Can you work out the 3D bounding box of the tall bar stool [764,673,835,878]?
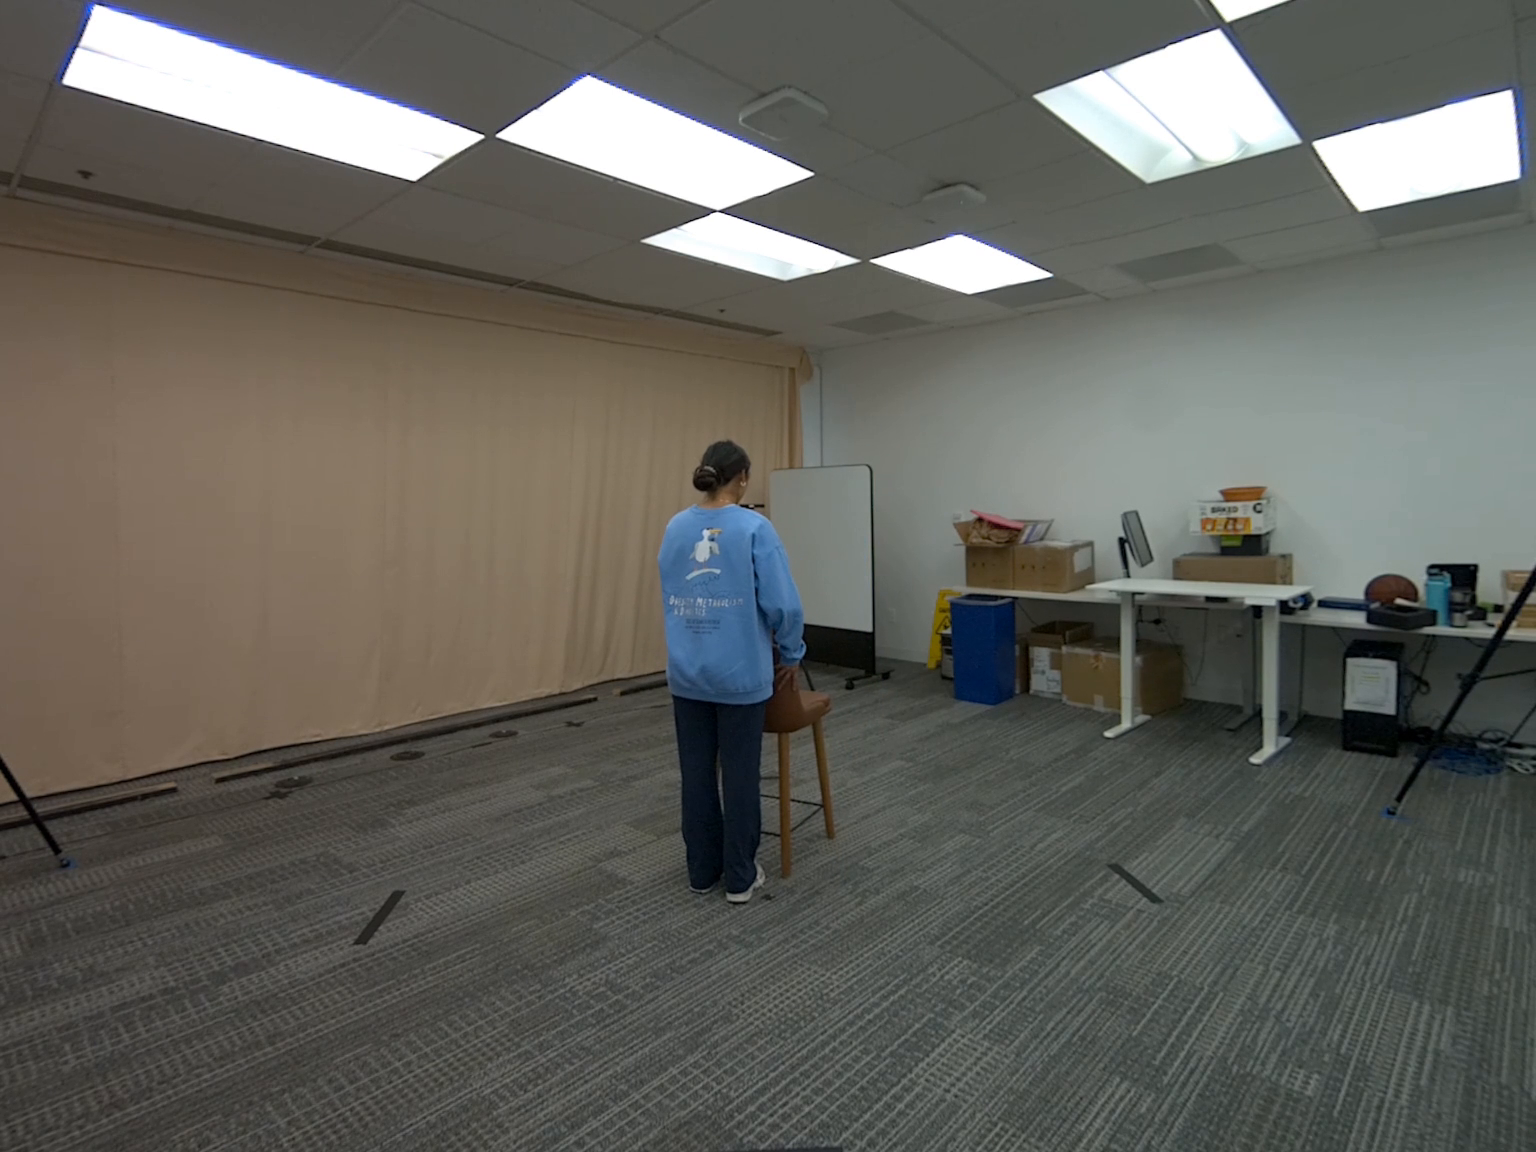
[{"bbox_3d":[-0.010,0.667,3.382,0.469,0.887,0.456,1,6,28],"label":"tall bar stool"}]
